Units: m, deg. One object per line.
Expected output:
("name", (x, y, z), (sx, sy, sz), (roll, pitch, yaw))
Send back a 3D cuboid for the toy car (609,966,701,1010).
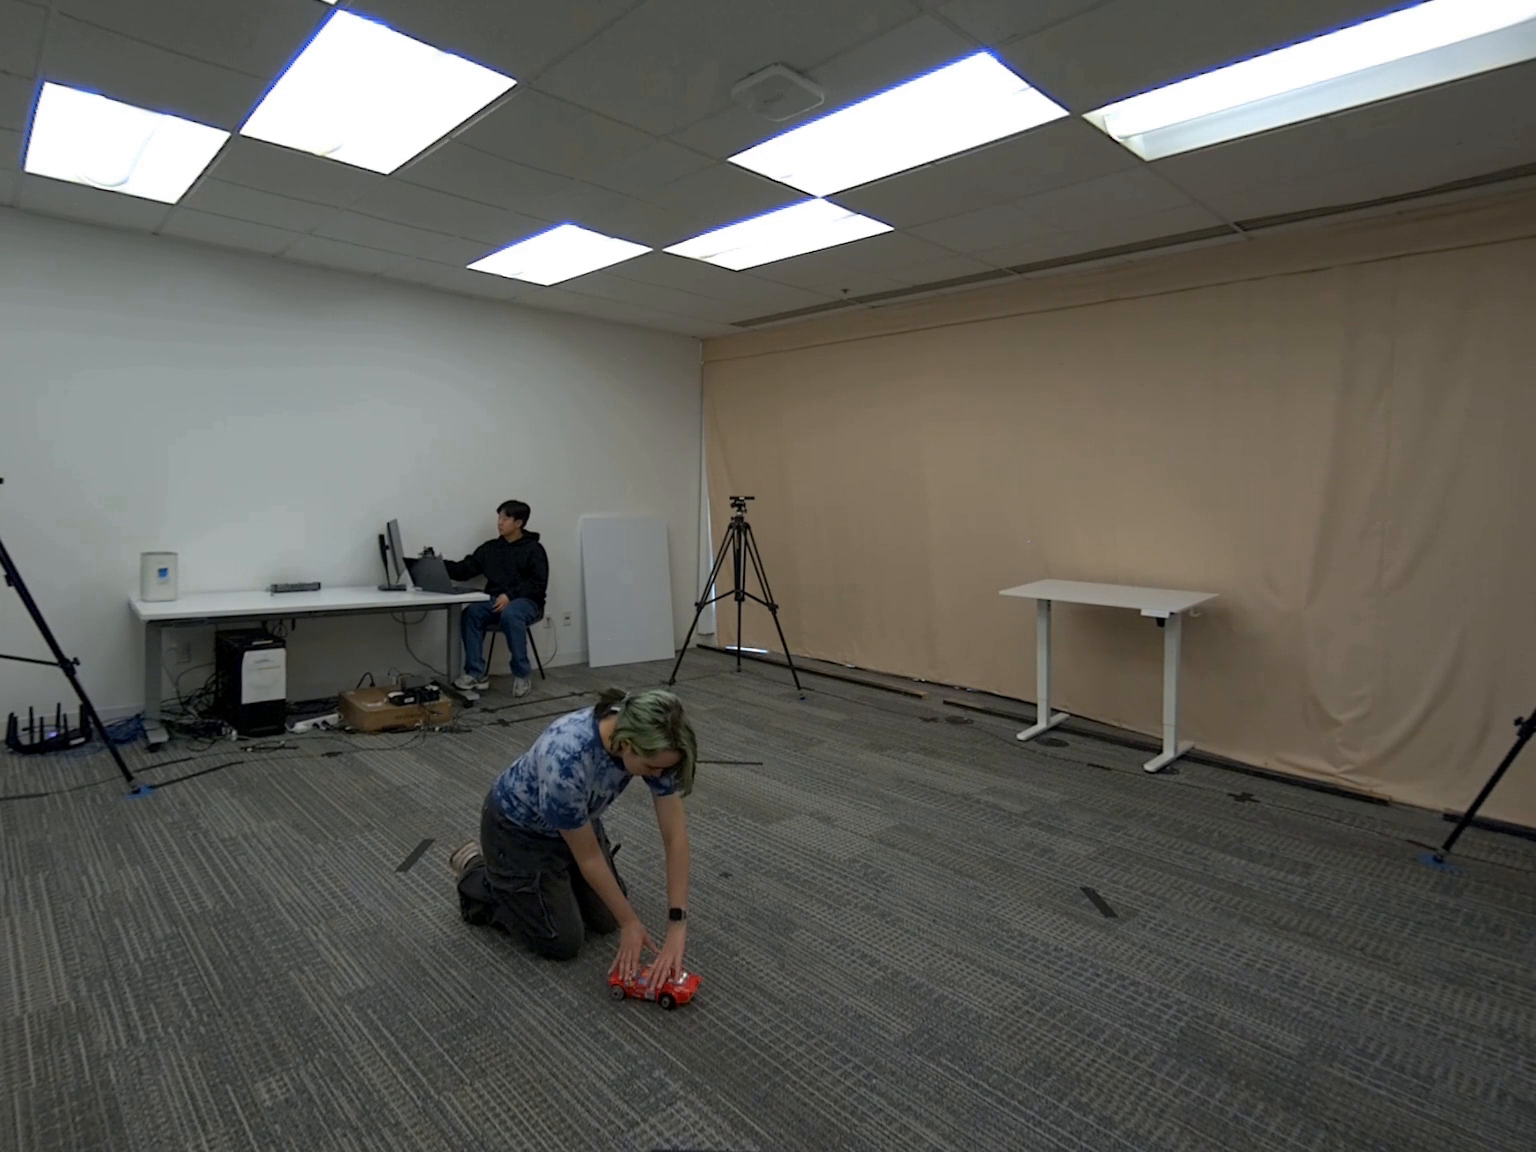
("toy car", (-0.314, 1.139, 2.334), (0.257, 0.083, 0.129), (-10, 2, 16))
